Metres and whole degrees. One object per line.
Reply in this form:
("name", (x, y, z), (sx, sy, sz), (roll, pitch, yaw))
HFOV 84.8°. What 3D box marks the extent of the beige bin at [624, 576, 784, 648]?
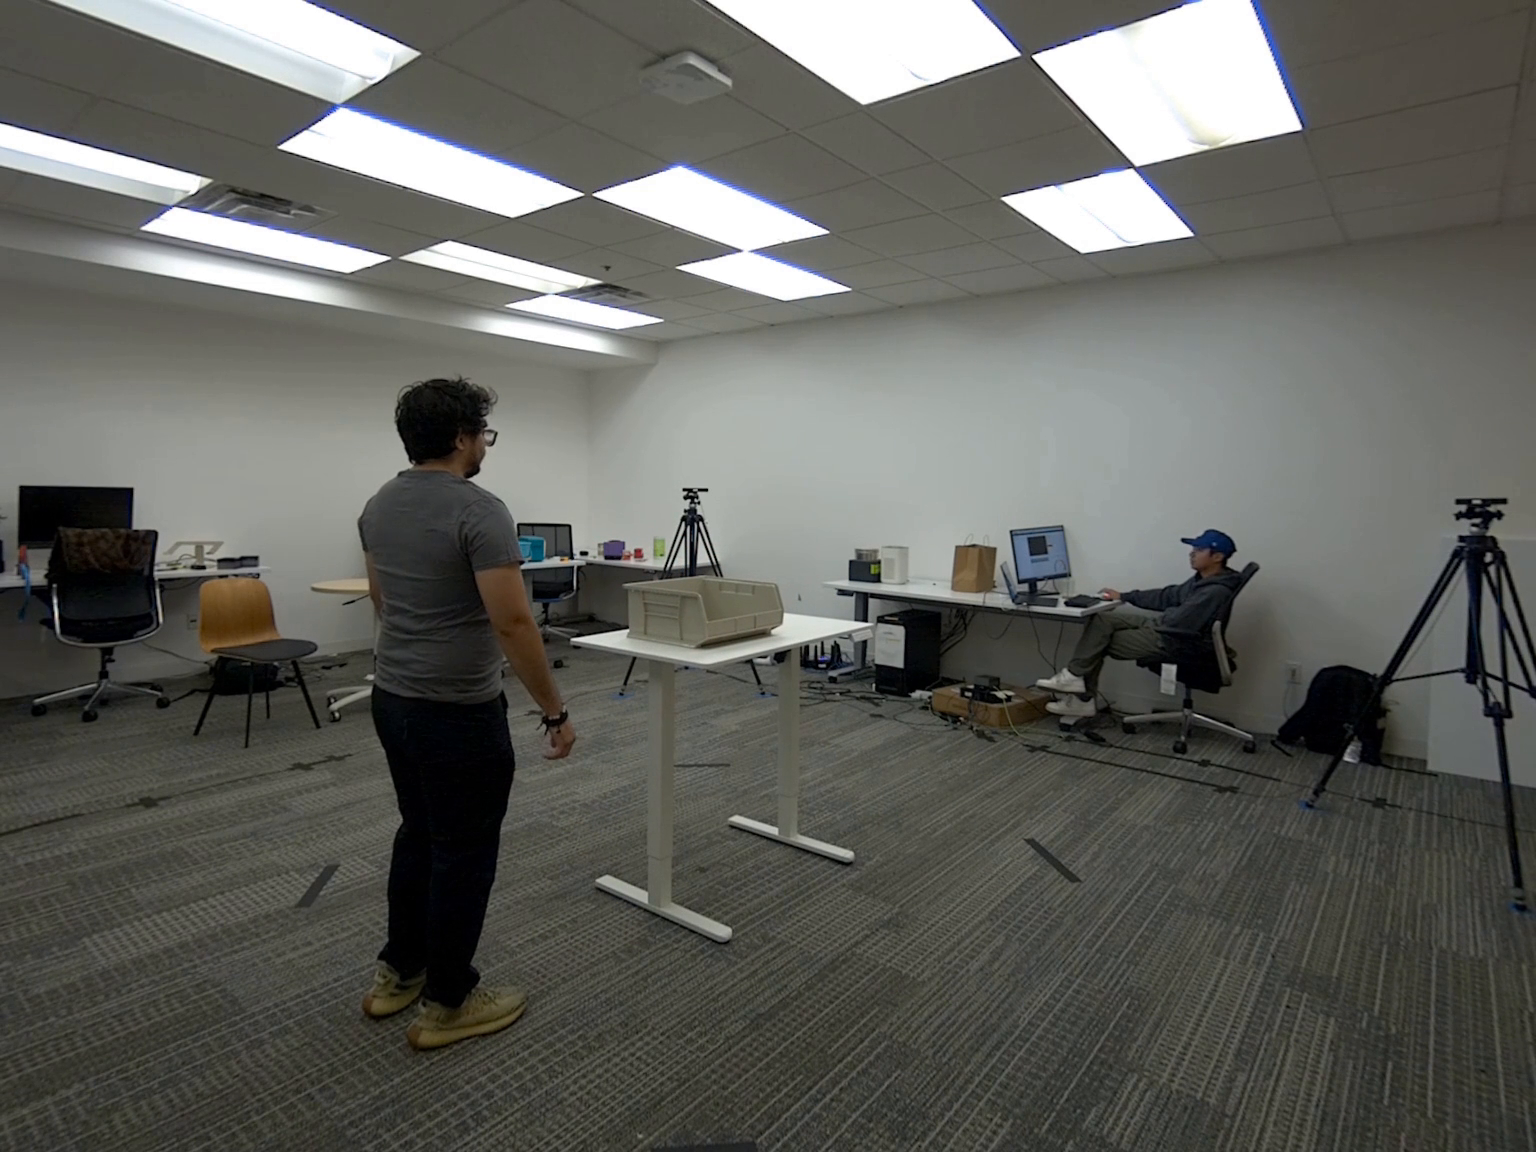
("beige bin", (-0.225, 0.116, 2.931), (0.390, 0.188, 0.410), (3, 6, 39))
